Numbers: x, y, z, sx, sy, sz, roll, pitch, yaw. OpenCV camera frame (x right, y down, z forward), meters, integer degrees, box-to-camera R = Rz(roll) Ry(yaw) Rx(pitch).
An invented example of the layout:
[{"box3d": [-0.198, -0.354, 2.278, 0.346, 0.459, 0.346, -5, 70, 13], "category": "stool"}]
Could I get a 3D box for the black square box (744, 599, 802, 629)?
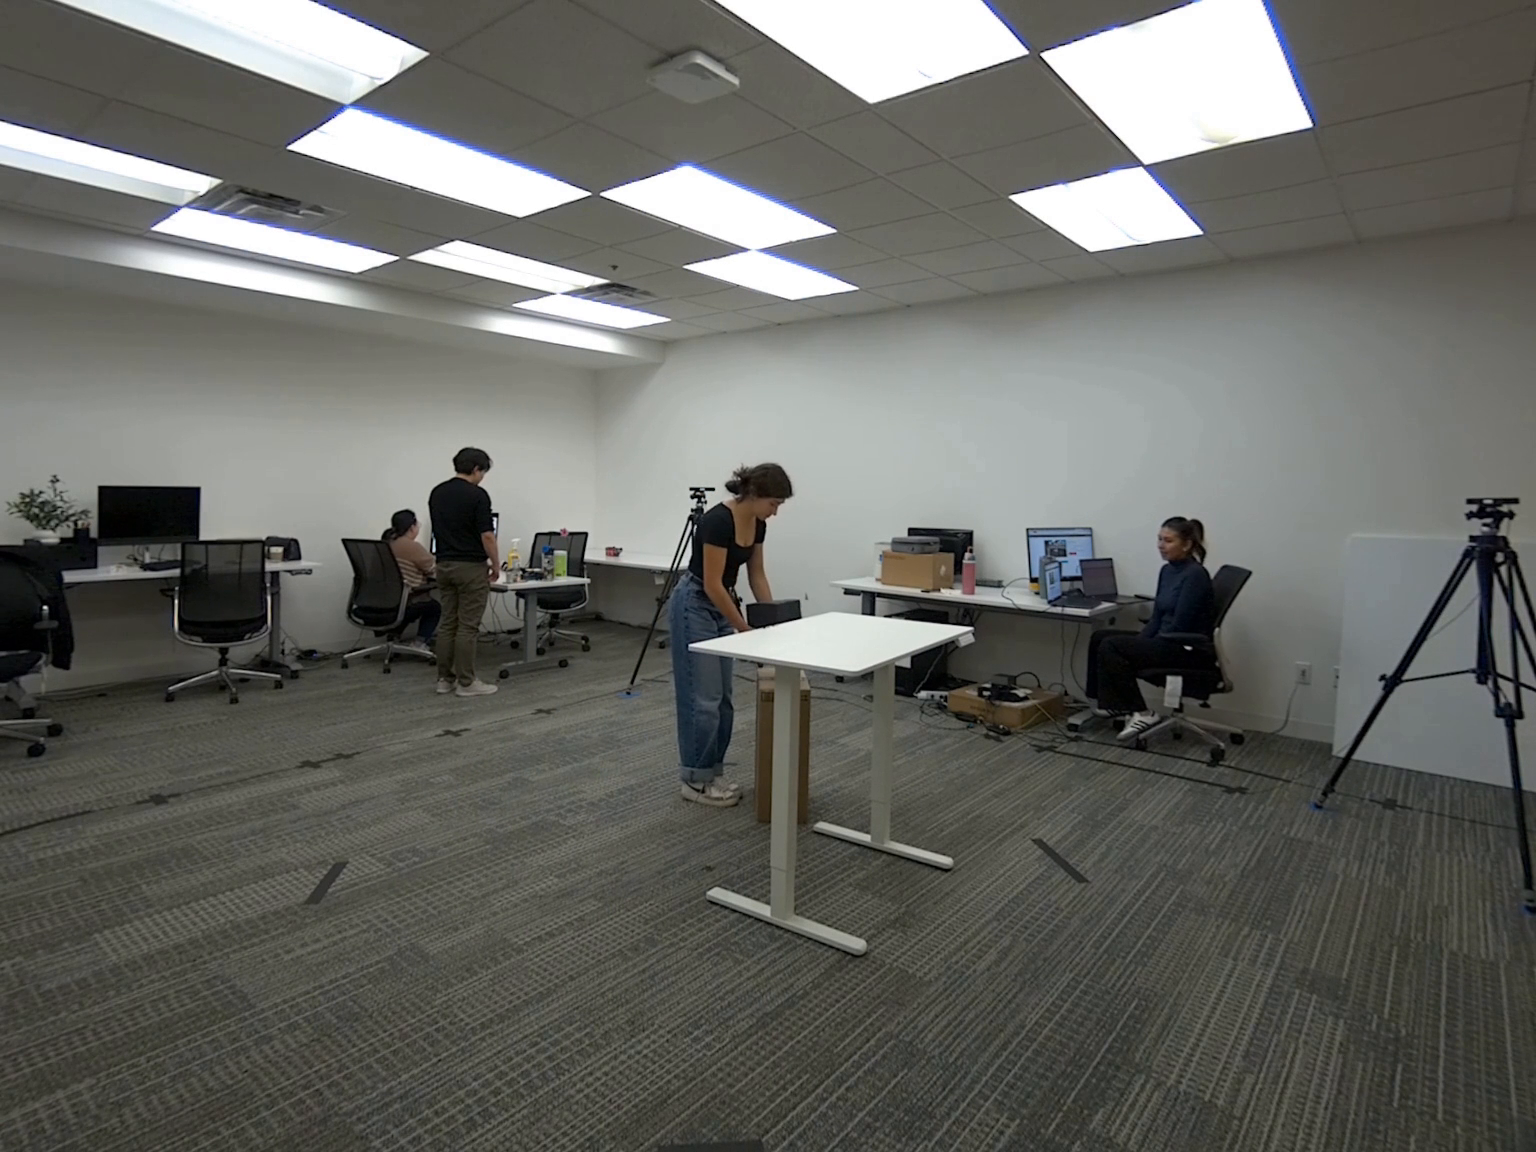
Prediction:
[{"box3d": [0.025, 0.224, 3.739, 0.160, 0.228, 0.211, -4, 0, 31], "category": "black square box"}]
